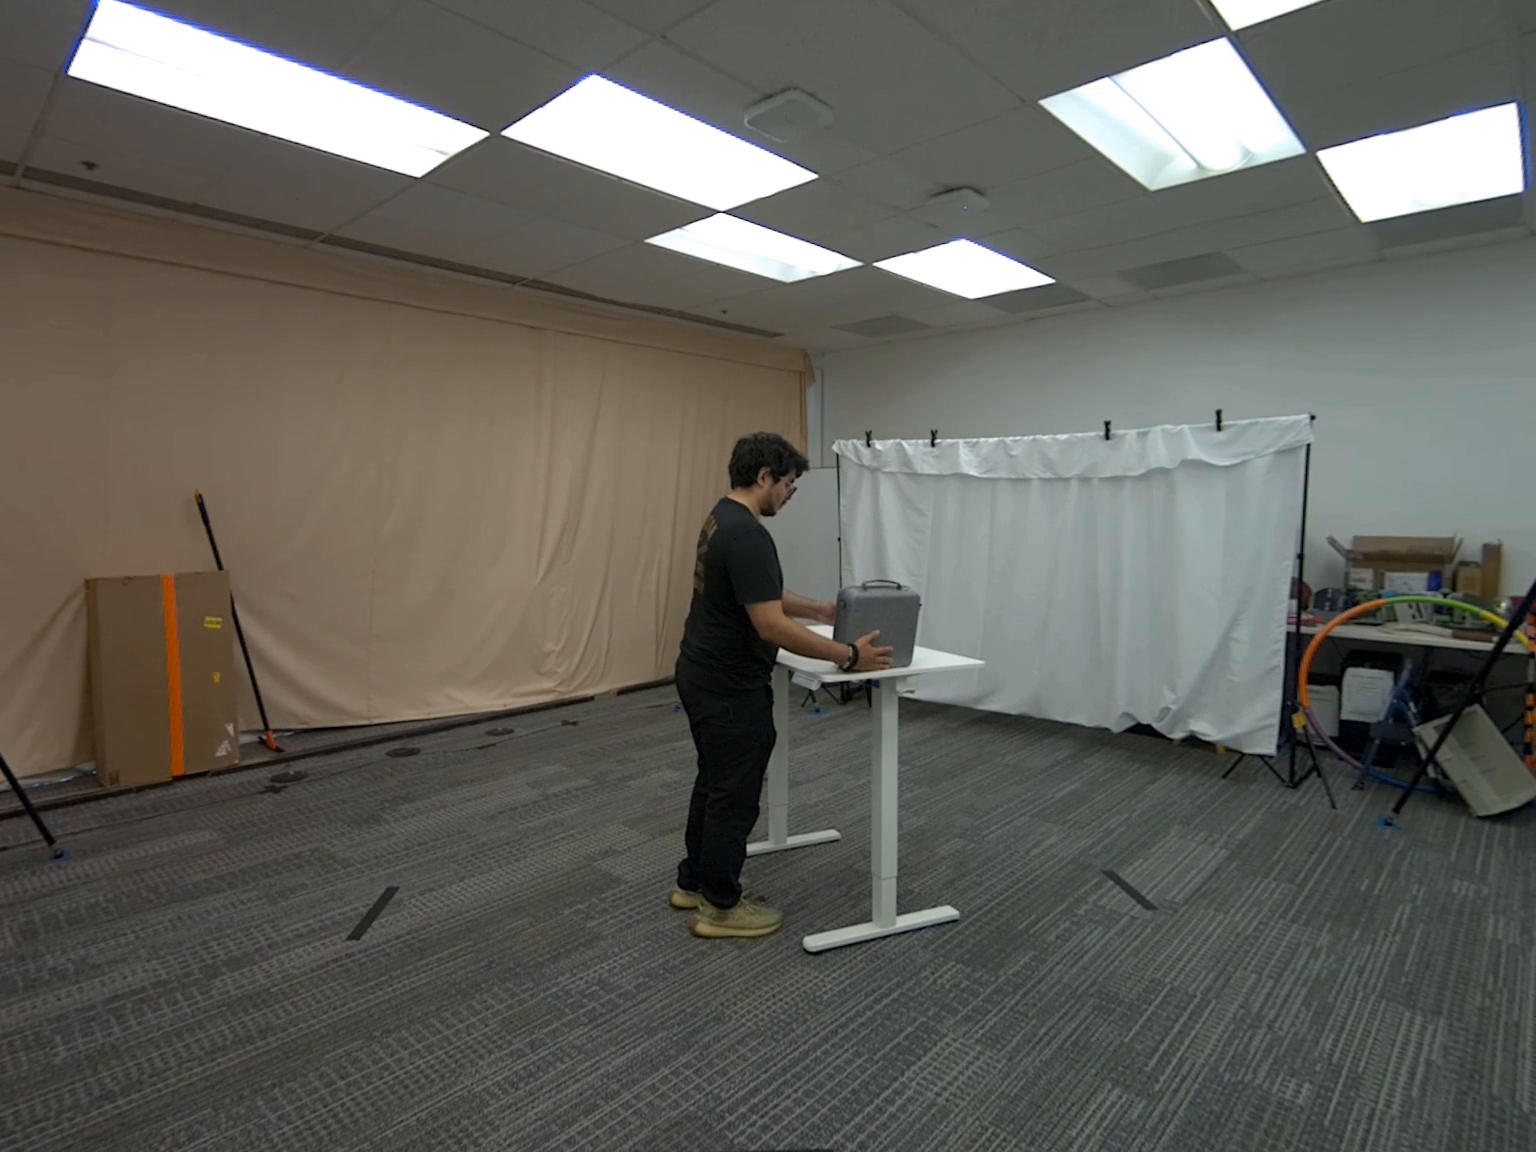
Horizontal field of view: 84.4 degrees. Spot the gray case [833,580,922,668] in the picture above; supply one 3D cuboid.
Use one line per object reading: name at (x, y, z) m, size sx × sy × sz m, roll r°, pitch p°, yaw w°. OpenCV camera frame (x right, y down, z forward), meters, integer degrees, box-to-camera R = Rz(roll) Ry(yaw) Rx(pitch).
gray case at (0.336, 0.164, 2.594) m, size 0.252 × 0.259 × 0.107 m, roll -1°, pitch 11°, yaw -18°
